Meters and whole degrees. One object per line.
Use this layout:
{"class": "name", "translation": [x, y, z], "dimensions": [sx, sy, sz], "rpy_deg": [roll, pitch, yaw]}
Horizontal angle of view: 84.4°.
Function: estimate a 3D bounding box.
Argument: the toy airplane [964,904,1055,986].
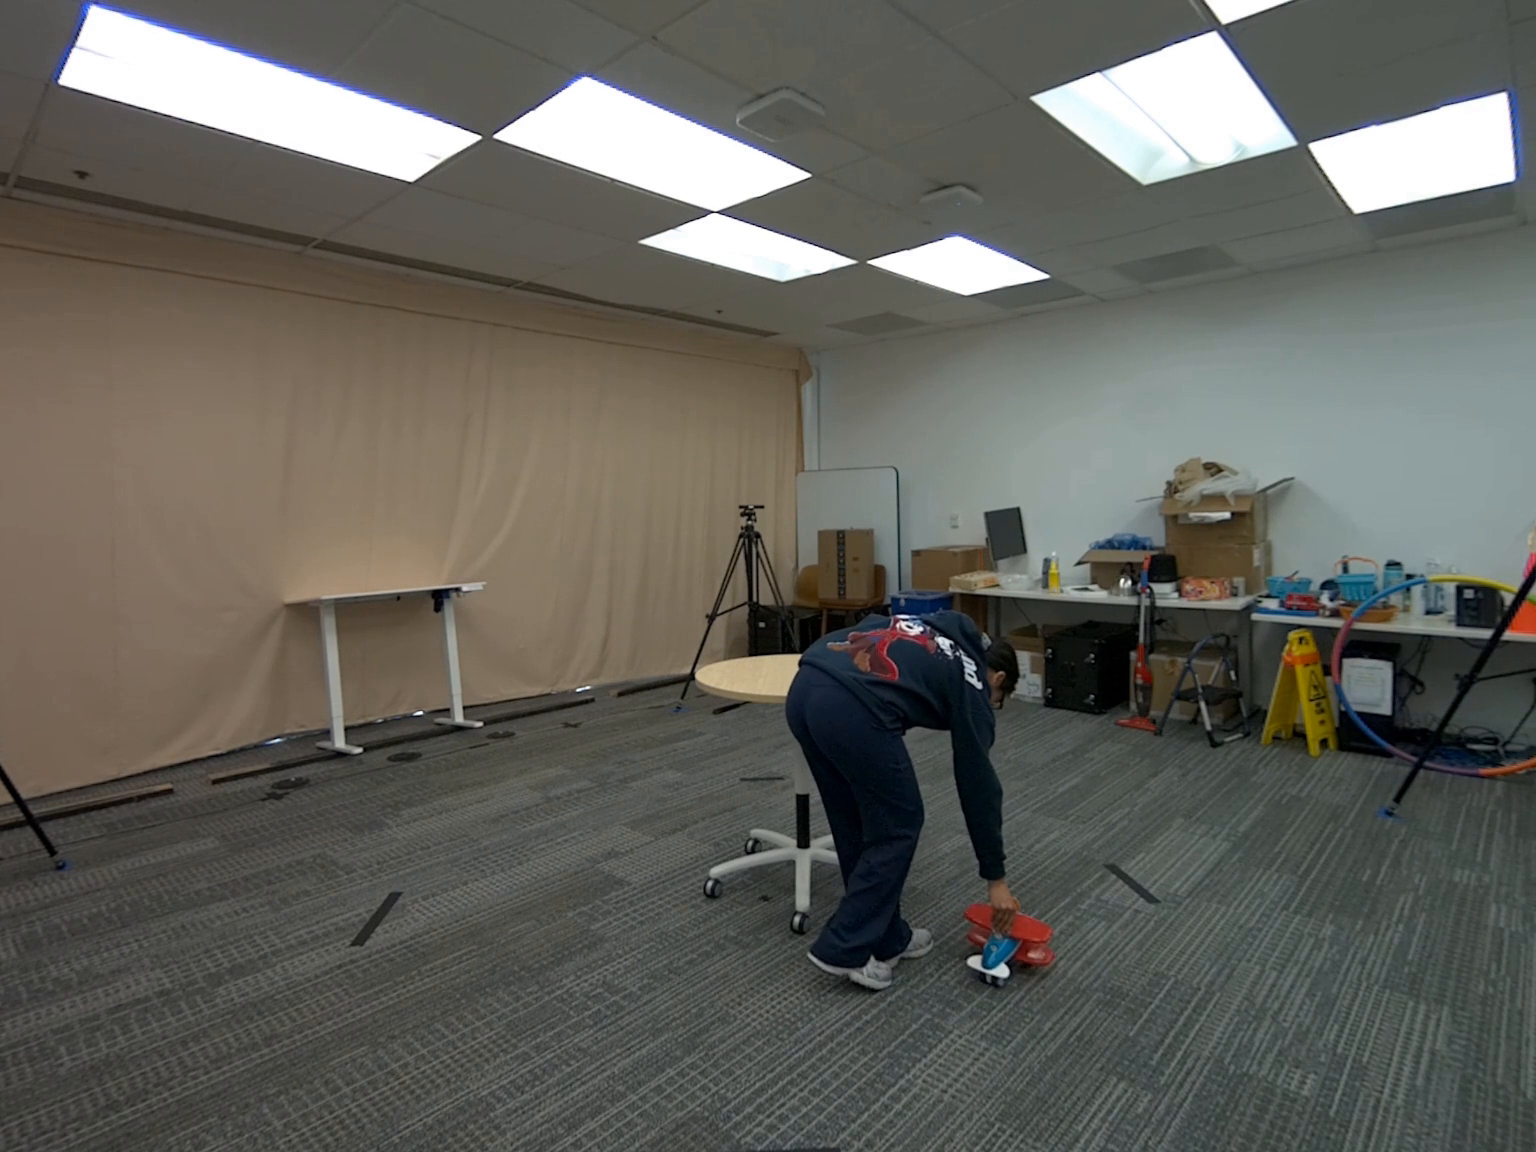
{"class": "toy airplane", "translation": [0.719, 1.101, 2.472], "dimensions": [0.255, 0.156, 0.256], "rpy_deg": [1, 3, 13]}
